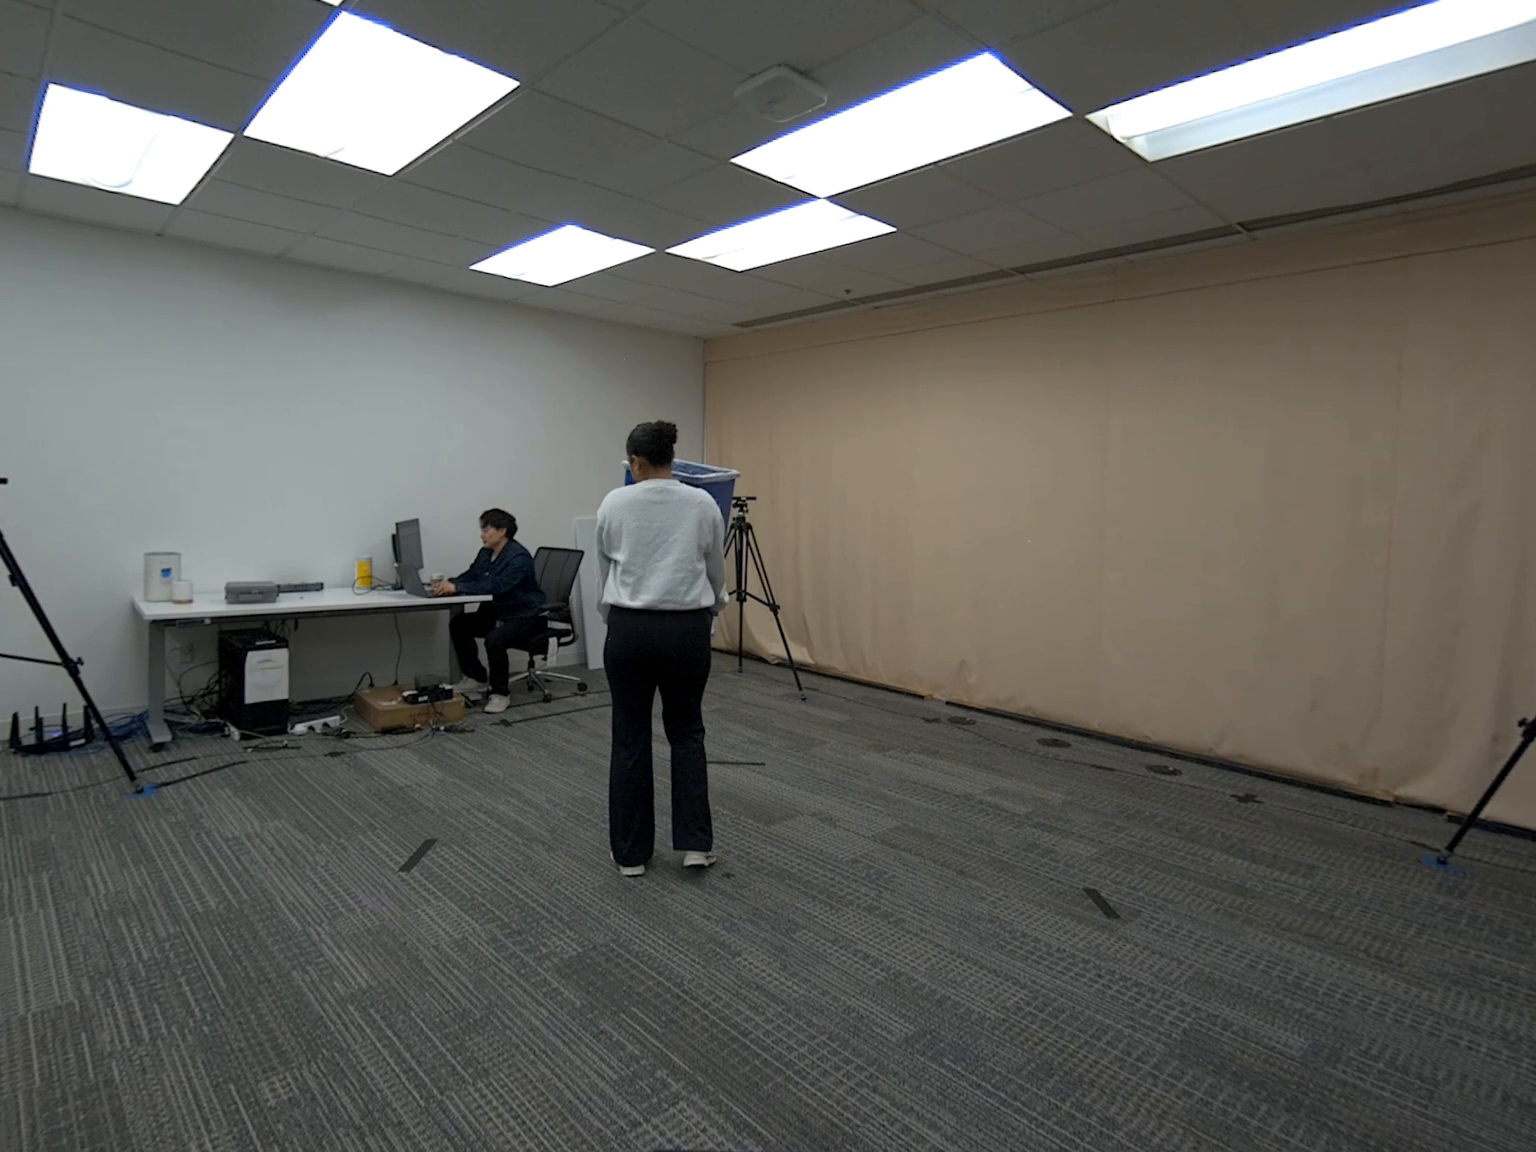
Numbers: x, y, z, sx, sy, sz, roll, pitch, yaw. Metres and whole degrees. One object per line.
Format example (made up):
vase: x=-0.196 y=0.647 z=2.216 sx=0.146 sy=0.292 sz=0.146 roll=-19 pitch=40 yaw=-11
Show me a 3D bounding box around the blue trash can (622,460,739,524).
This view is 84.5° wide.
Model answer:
blue trash can: x=-0.384 y=-0.093 z=3.450 sx=0.382 sy=0.708 sz=0.373 roll=13 pitch=14 yaw=24
